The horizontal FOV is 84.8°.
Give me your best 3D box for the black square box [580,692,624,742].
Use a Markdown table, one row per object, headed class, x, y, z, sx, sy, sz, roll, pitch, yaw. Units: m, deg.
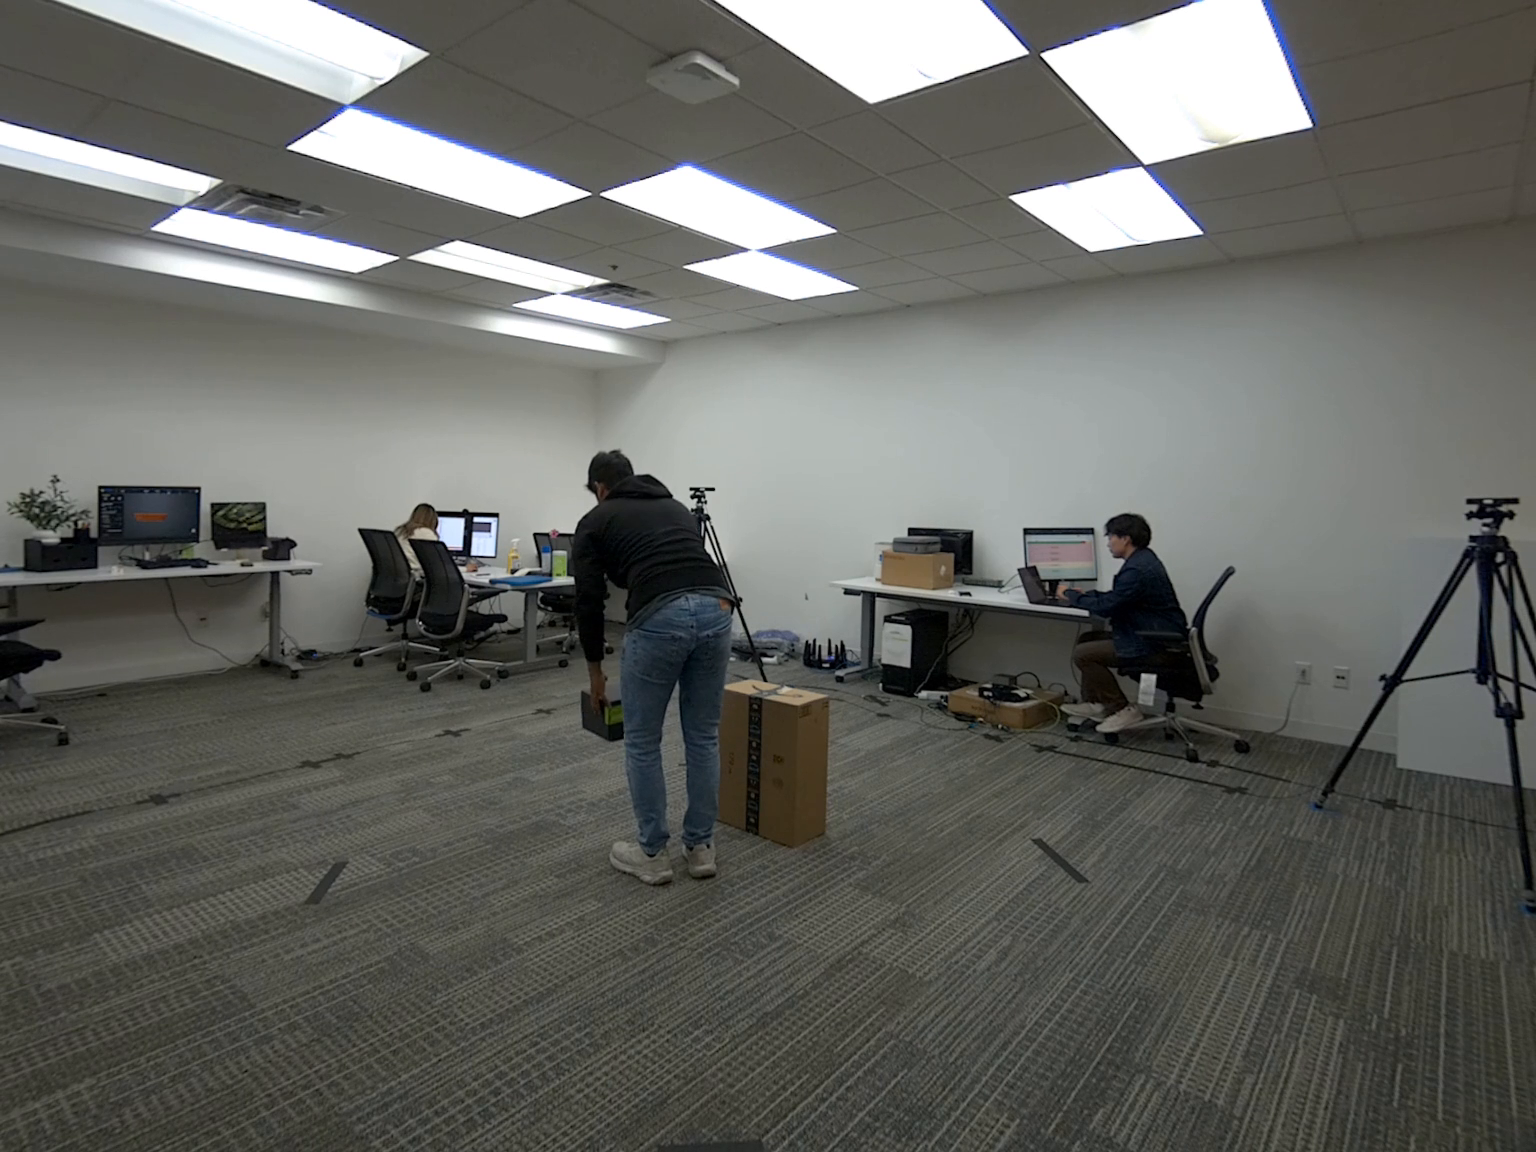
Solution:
| class | x | y | z | sx | sy | sz | roll | pitch | yaw |
| --- | --- | --- | --- | --- | --- | --- | --- | --- | --- |
| black square box | -0.586 | 0.526 | 3.321 | 0.221 | 0.155 | 0.224 | -6 | 10 | -40 |
